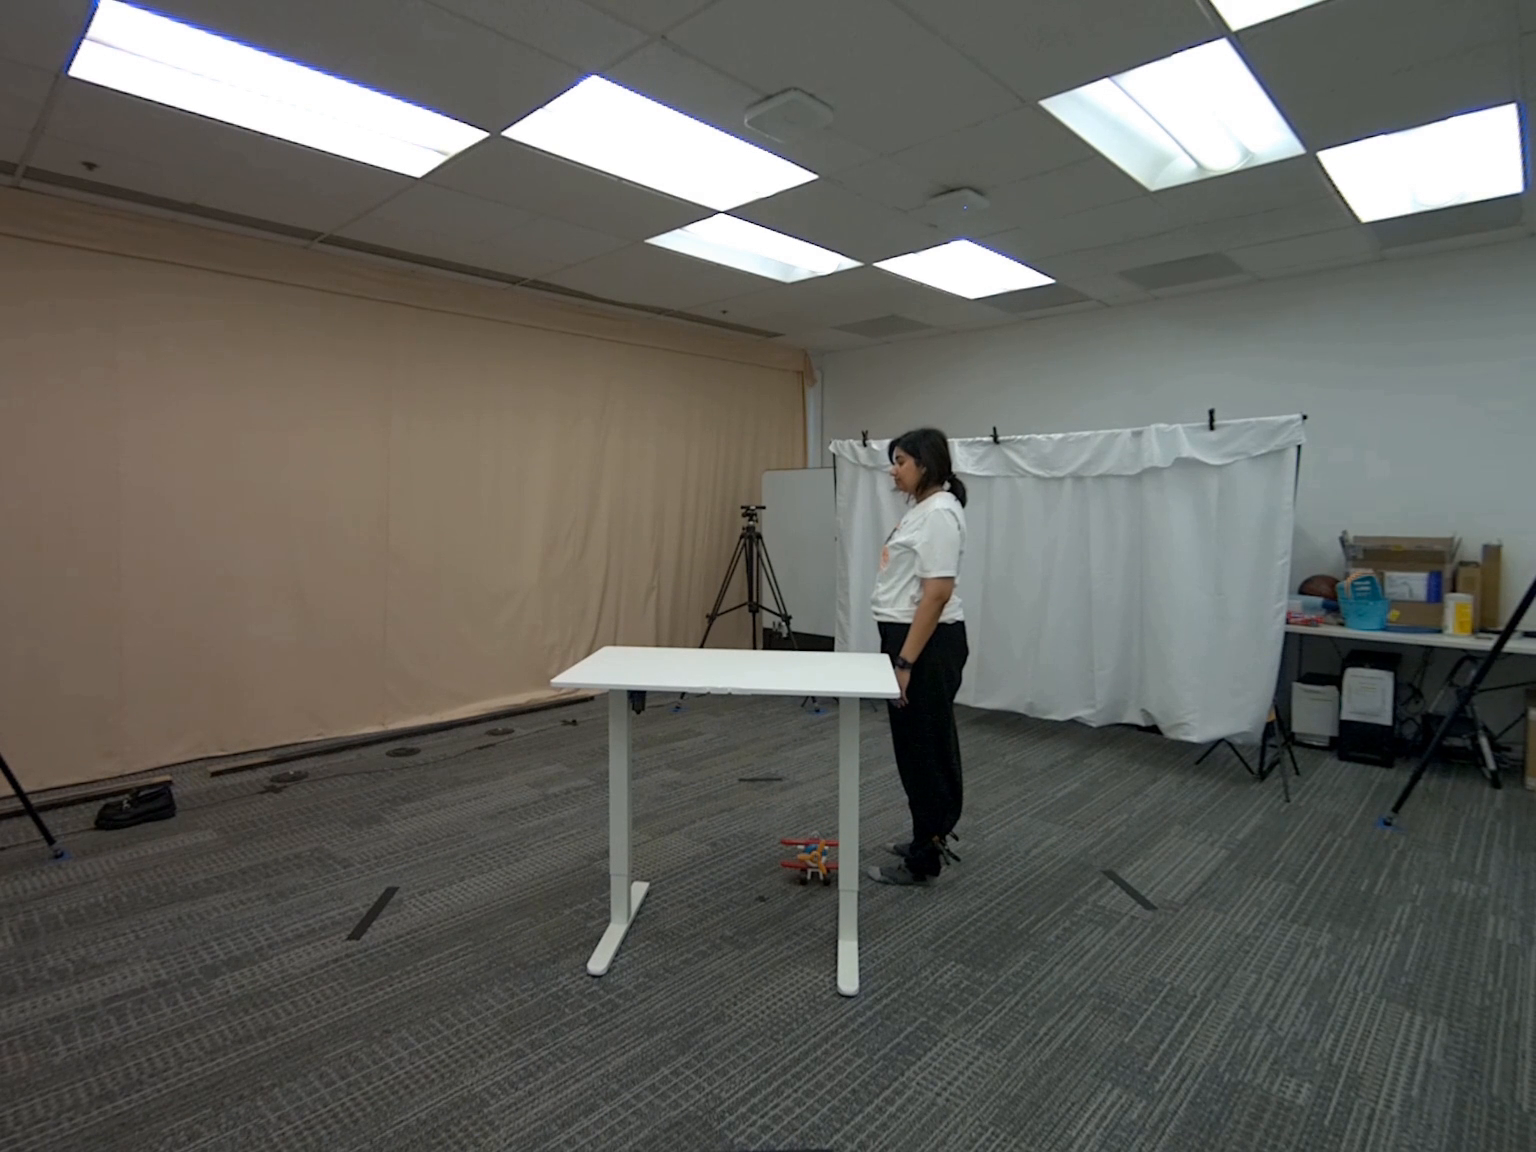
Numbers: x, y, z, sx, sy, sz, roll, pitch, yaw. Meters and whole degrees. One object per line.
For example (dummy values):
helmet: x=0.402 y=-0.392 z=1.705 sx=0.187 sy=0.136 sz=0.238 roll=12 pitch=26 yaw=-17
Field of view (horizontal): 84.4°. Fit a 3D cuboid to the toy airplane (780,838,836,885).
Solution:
toy airplane: x=0.158 y=1.067 z=3.174 sx=0.244 sy=0.156 sz=0.266 roll=1 pitch=1 yaw=-30
